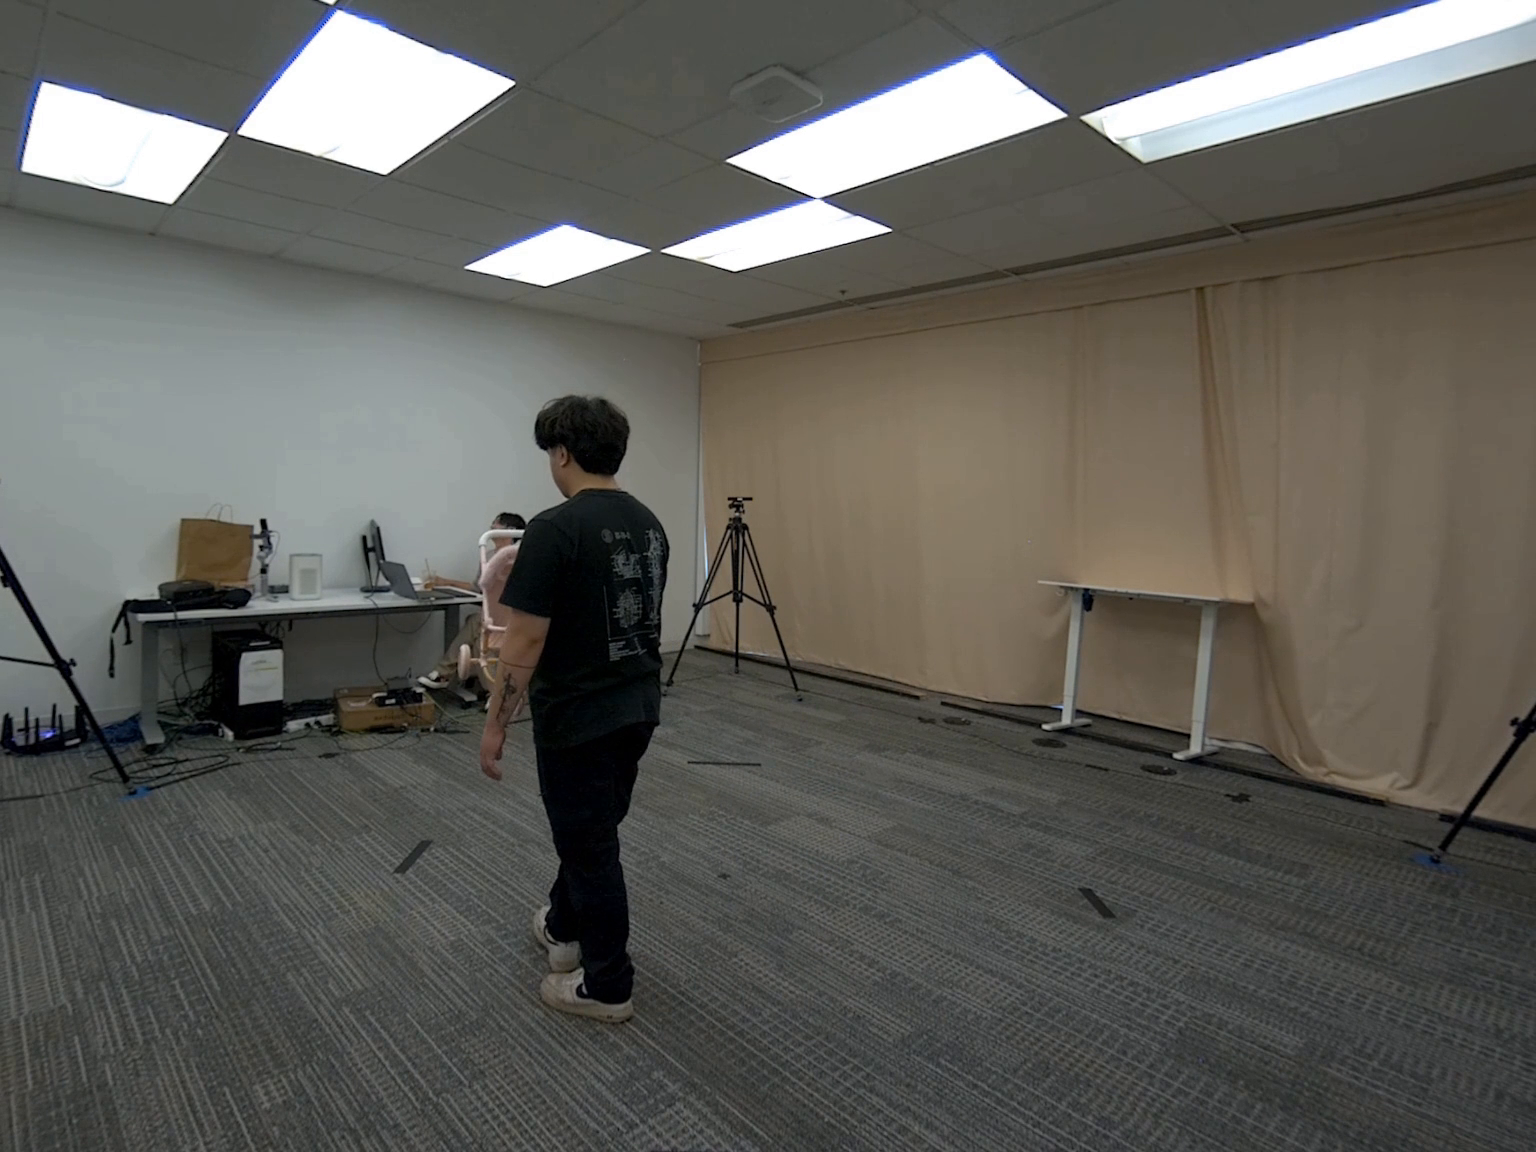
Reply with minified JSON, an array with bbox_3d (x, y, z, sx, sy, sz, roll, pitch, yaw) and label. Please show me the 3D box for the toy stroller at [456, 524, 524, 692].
[{"bbox_3d":[-0.792,0.136,2.605,0.276,0.534,0.348,4,3,-23],"label":"toy stroller"}]
